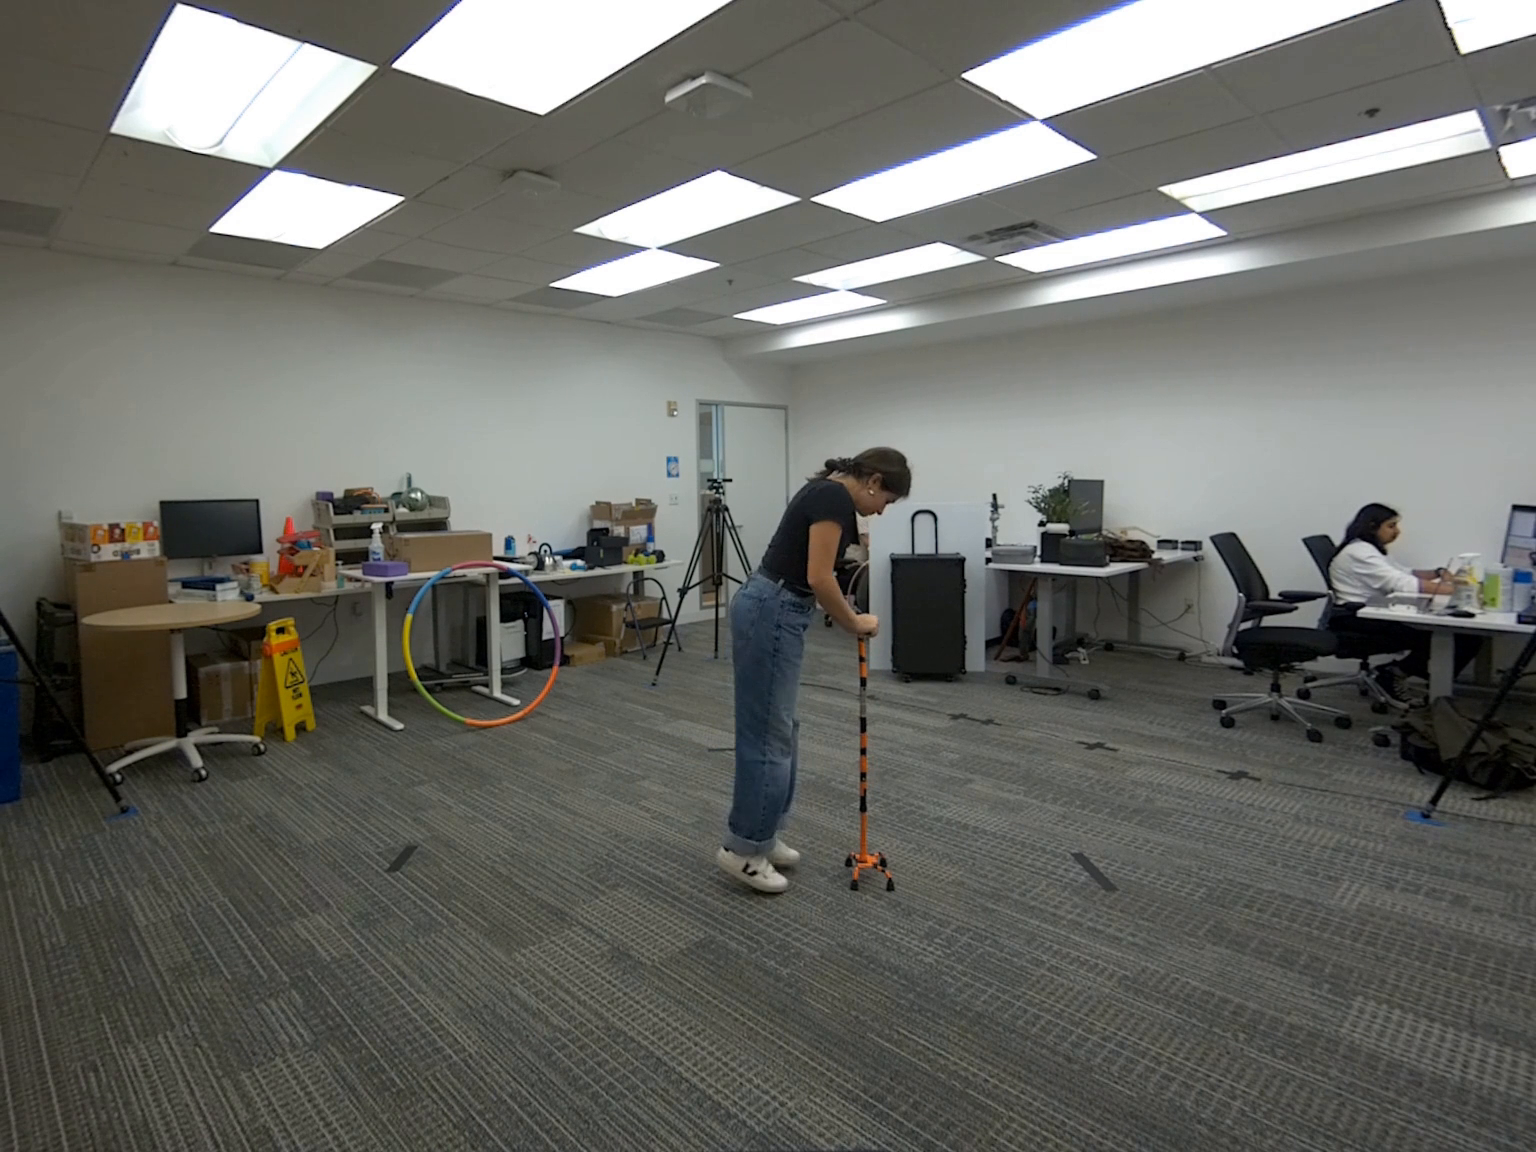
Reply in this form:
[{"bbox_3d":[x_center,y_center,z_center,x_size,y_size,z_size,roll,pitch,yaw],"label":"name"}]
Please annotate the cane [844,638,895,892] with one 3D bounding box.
[{"bbox_3d":[0.348,0.595,2.953,0.152,0.905,0.207,0,4,0],"label":"cane"}]
